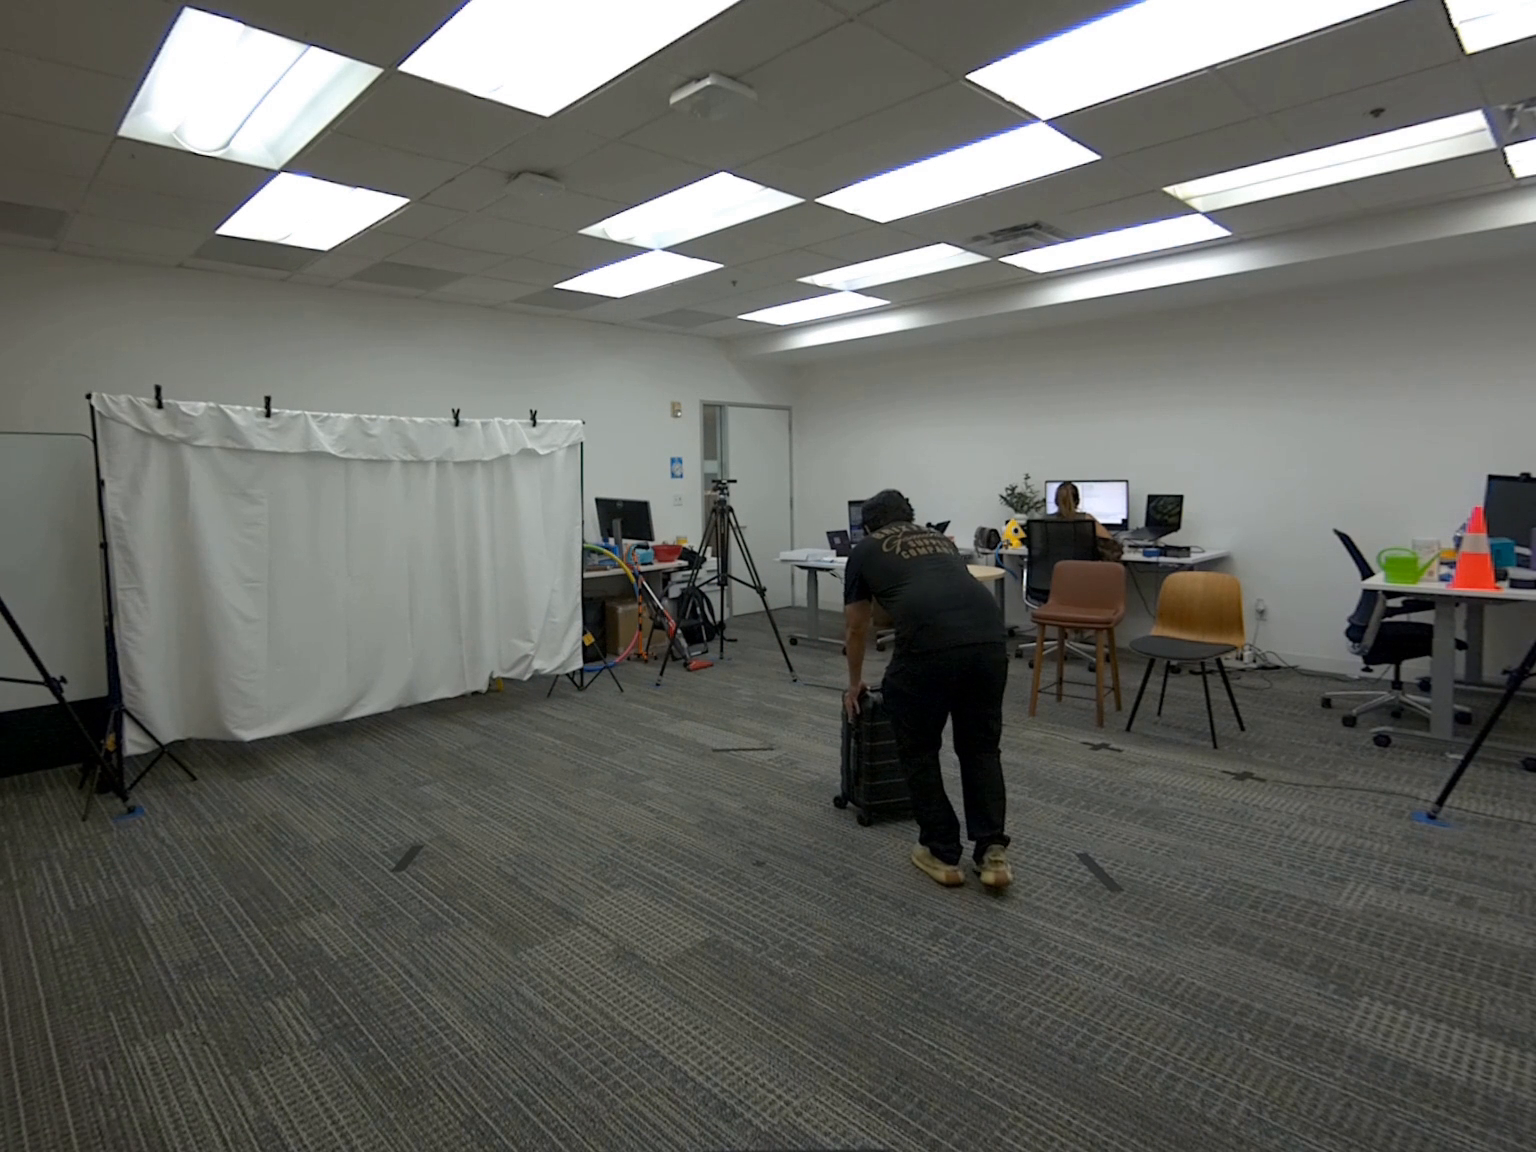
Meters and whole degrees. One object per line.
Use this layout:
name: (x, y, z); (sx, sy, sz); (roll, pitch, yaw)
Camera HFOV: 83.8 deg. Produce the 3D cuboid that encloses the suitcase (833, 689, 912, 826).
suitcase: (0.503, 0.717, 3.547); (0.369, 0.547, 0.253); (-1, 5, -19)
